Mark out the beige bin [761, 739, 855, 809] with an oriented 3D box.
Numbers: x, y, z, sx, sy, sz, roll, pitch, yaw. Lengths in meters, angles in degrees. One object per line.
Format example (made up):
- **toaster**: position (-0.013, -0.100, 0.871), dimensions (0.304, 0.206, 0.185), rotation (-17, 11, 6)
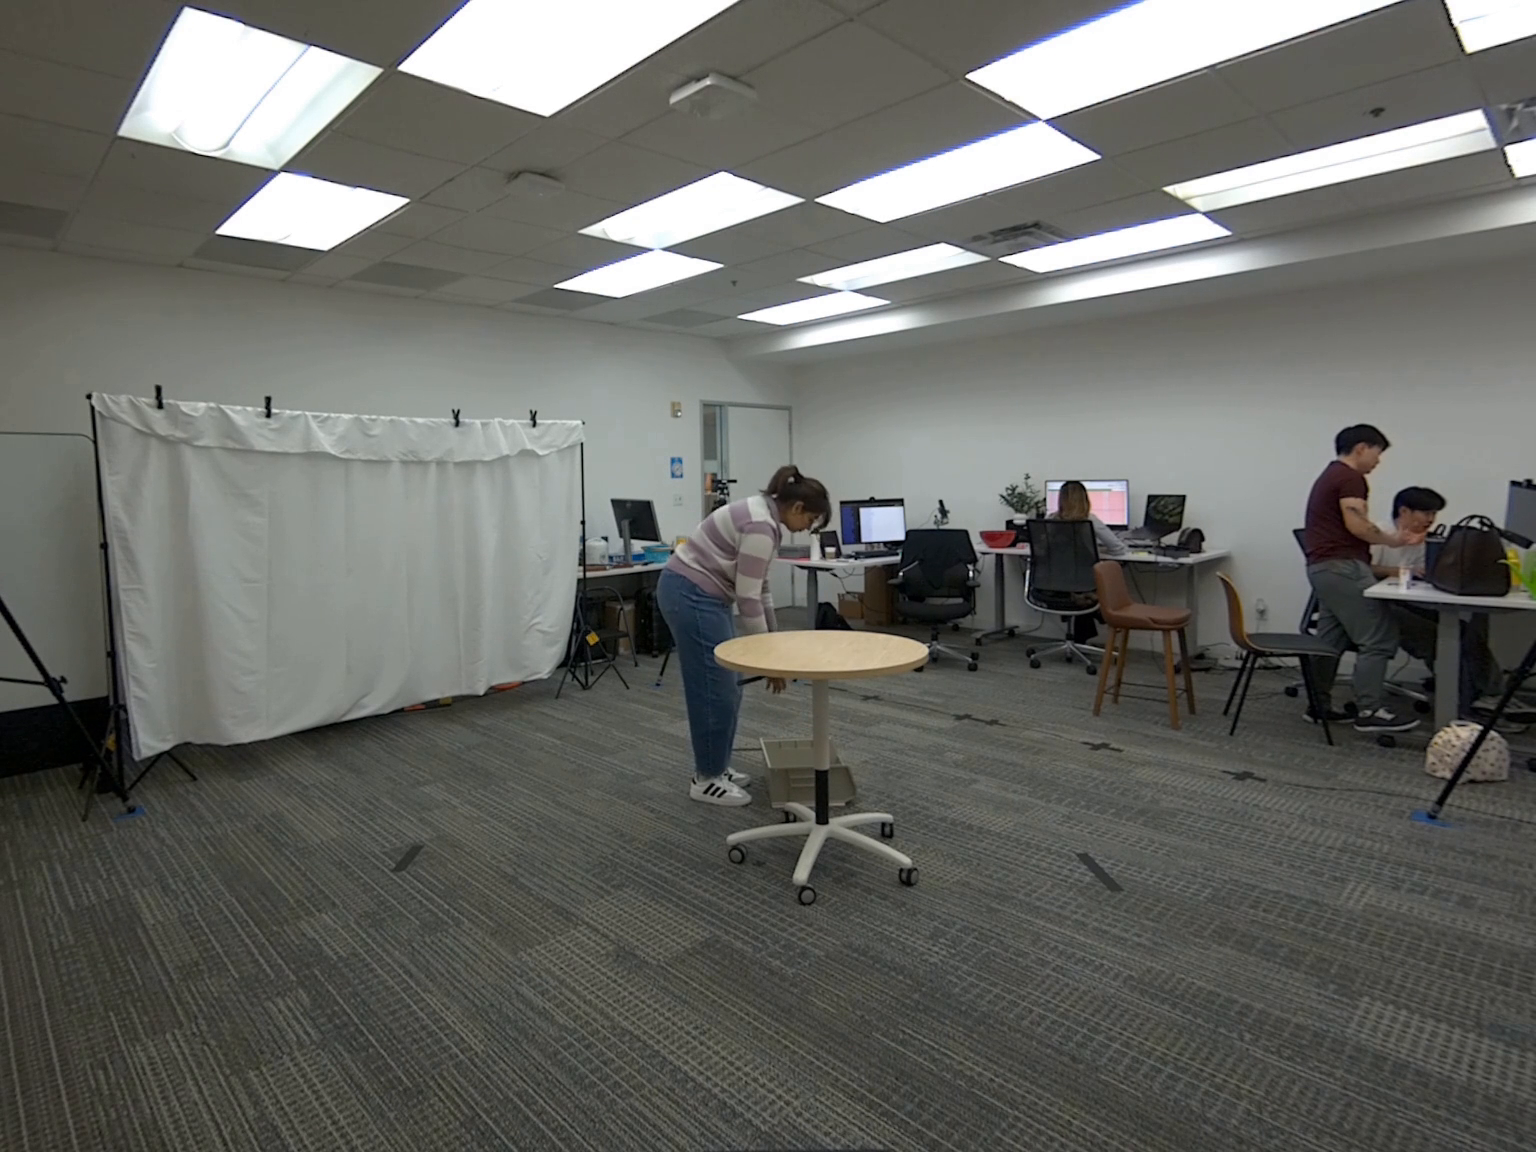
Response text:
- **beige bin**: position (0.169, 0.870, 3.837), dimensions (0.376, 0.188, 0.426), rotation (-2, 6, -4)
